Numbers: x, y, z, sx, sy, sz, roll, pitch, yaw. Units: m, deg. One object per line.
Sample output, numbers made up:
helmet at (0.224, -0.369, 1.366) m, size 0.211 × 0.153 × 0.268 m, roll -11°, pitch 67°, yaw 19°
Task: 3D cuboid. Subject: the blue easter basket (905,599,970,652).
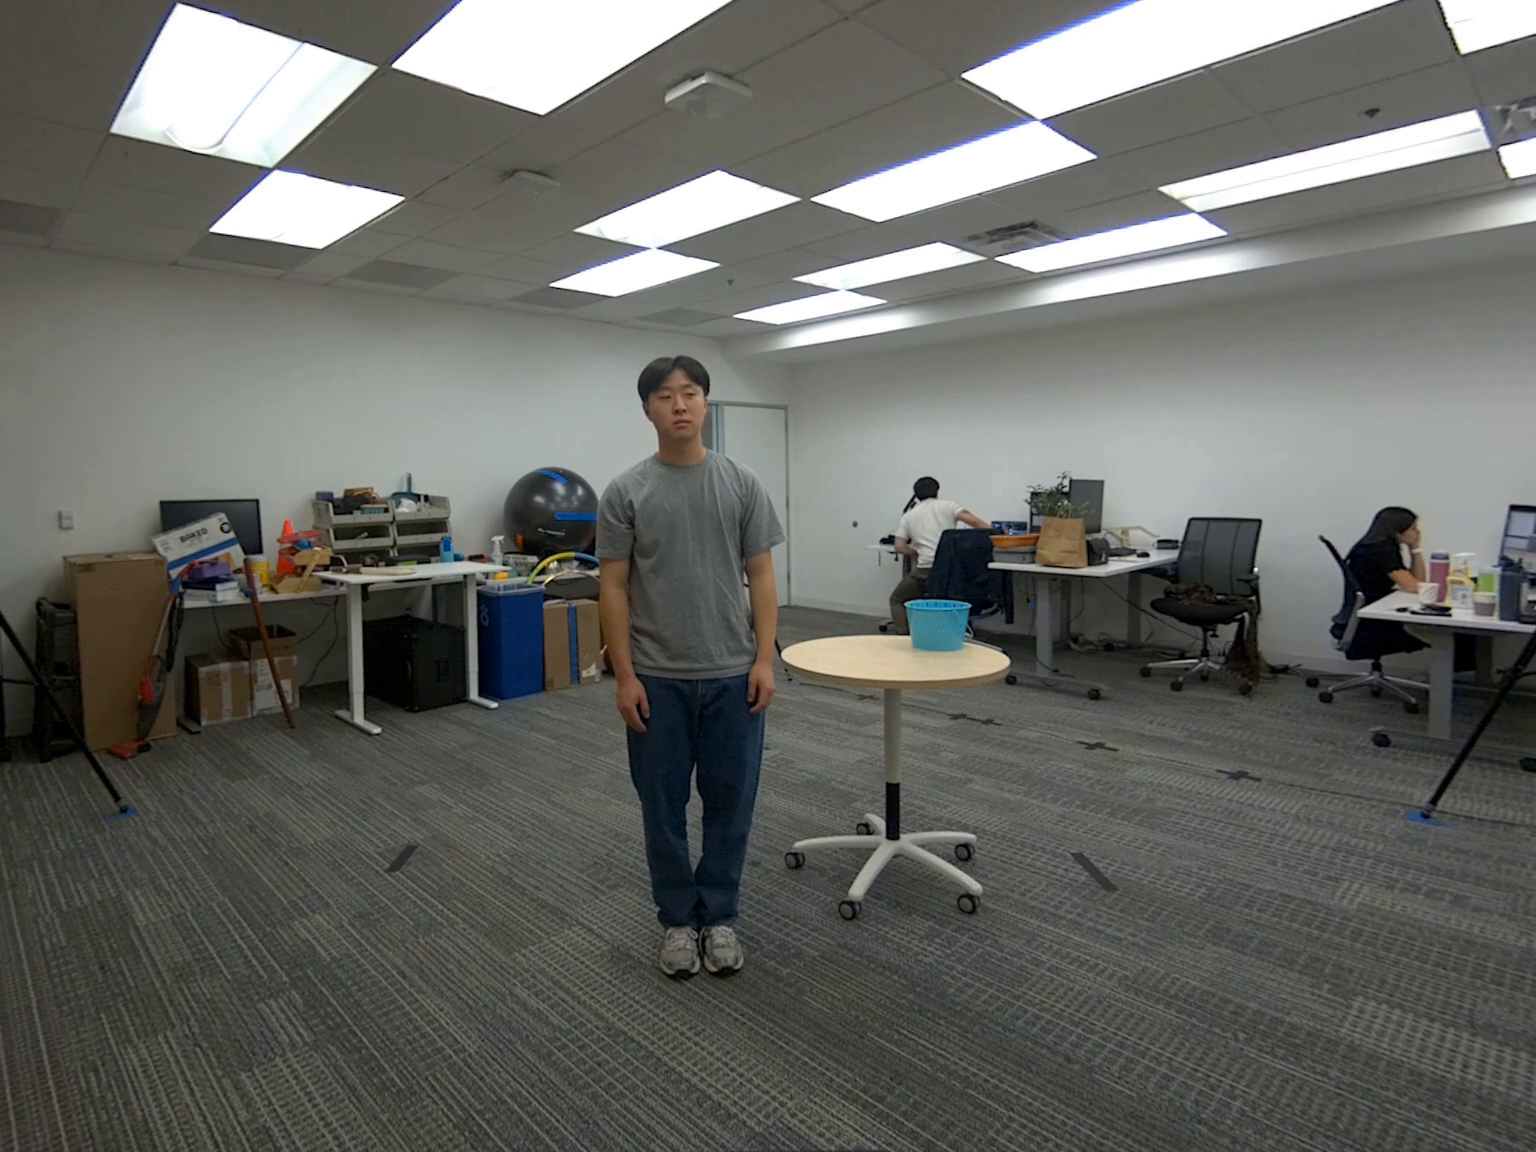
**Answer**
blue easter basket at (0.628, 0.183, 3.074) m, size 0.243 × 0.155 × 0.245 m, roll 0°, pitch 5°, yaw -2°
